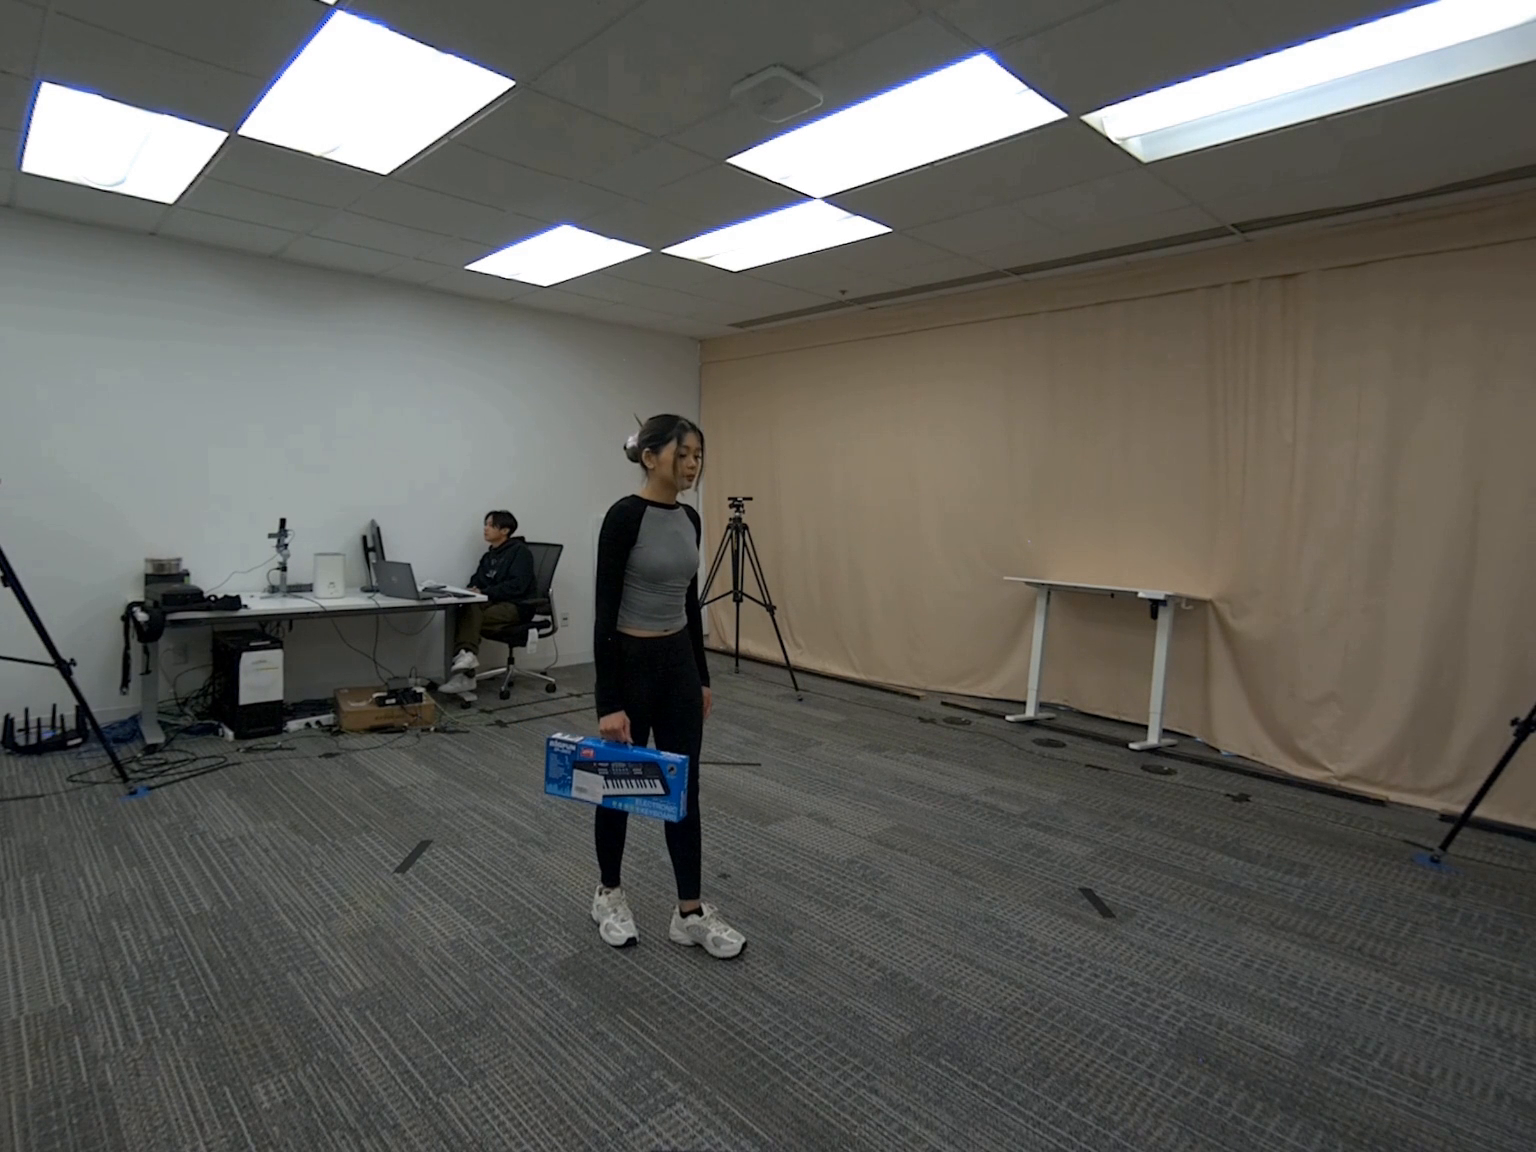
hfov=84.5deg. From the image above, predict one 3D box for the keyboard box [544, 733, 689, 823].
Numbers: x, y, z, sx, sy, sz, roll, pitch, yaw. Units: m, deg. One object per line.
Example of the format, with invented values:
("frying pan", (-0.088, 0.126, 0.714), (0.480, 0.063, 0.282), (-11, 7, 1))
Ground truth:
("keyboard box", (-0.447, 0.568, 2.415), (0.444, 0.175, 0.058), (3, 4, 21))
